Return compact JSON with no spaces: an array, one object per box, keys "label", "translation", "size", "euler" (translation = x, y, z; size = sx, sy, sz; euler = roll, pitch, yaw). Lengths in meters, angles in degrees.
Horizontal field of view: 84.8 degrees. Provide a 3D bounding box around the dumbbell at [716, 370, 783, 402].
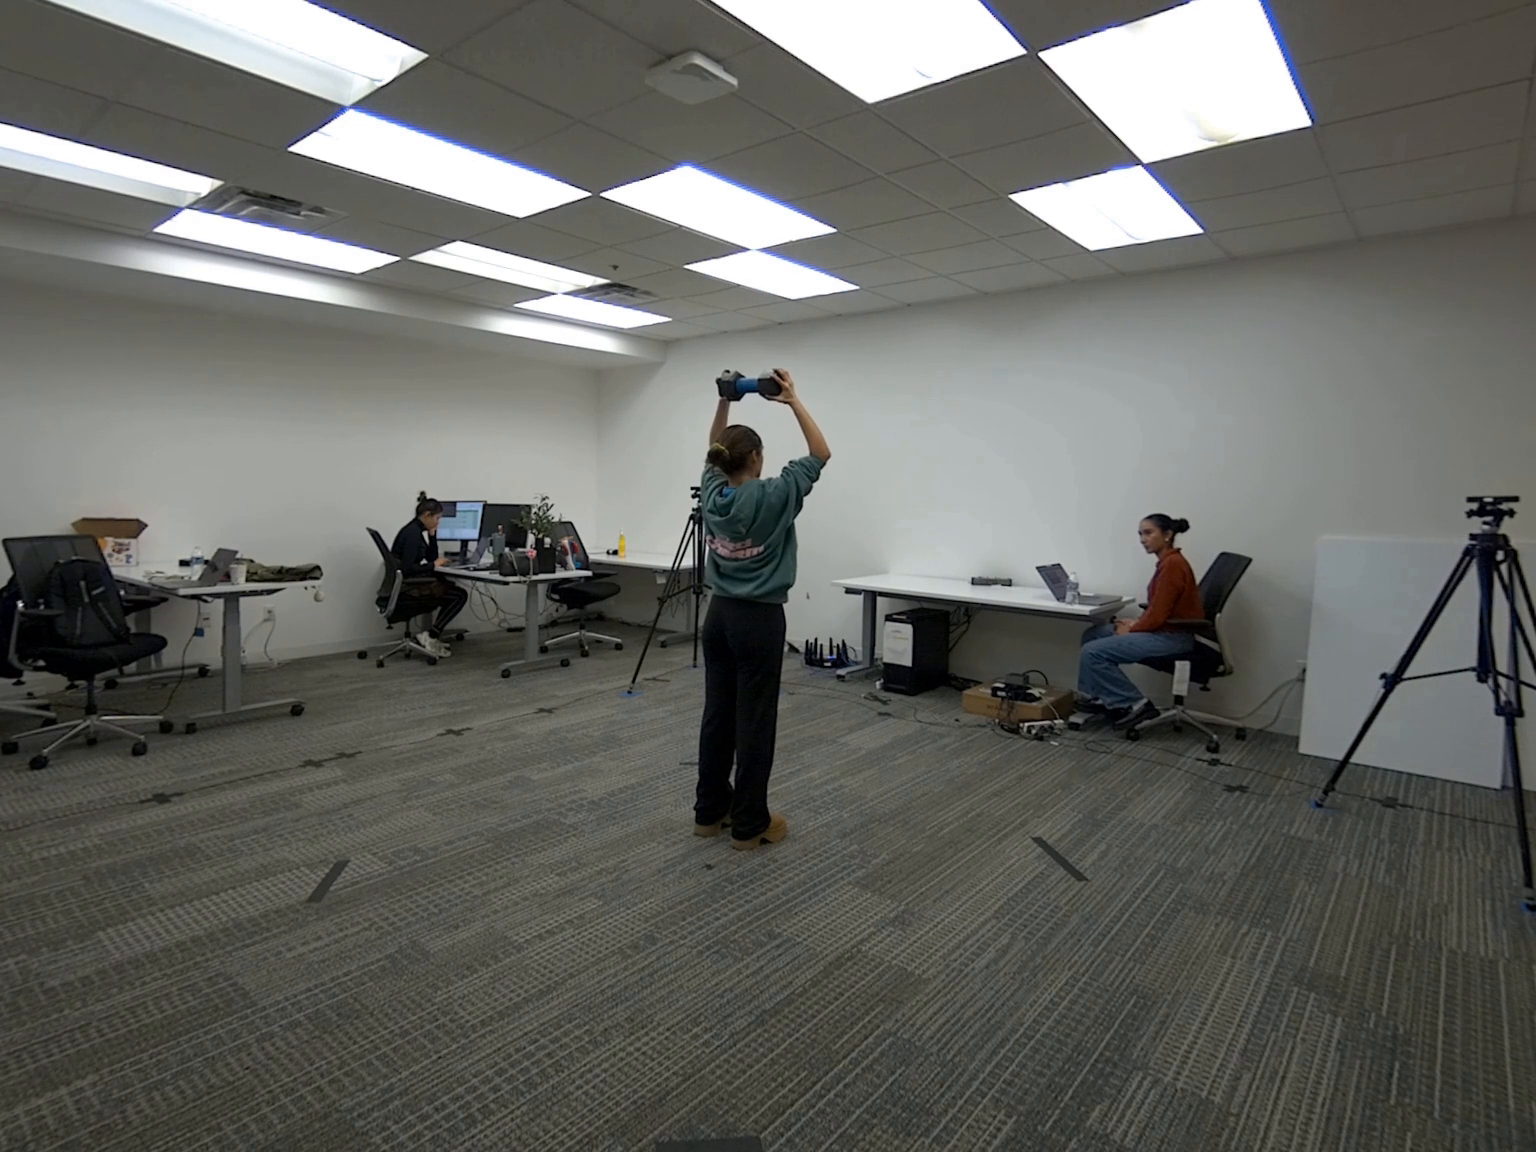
[{"label":"dumbbell","translation":[-0.077,-0.753,3.336],"size":[0.304,0.121,0.106],"euler":[9,21,42]}]
